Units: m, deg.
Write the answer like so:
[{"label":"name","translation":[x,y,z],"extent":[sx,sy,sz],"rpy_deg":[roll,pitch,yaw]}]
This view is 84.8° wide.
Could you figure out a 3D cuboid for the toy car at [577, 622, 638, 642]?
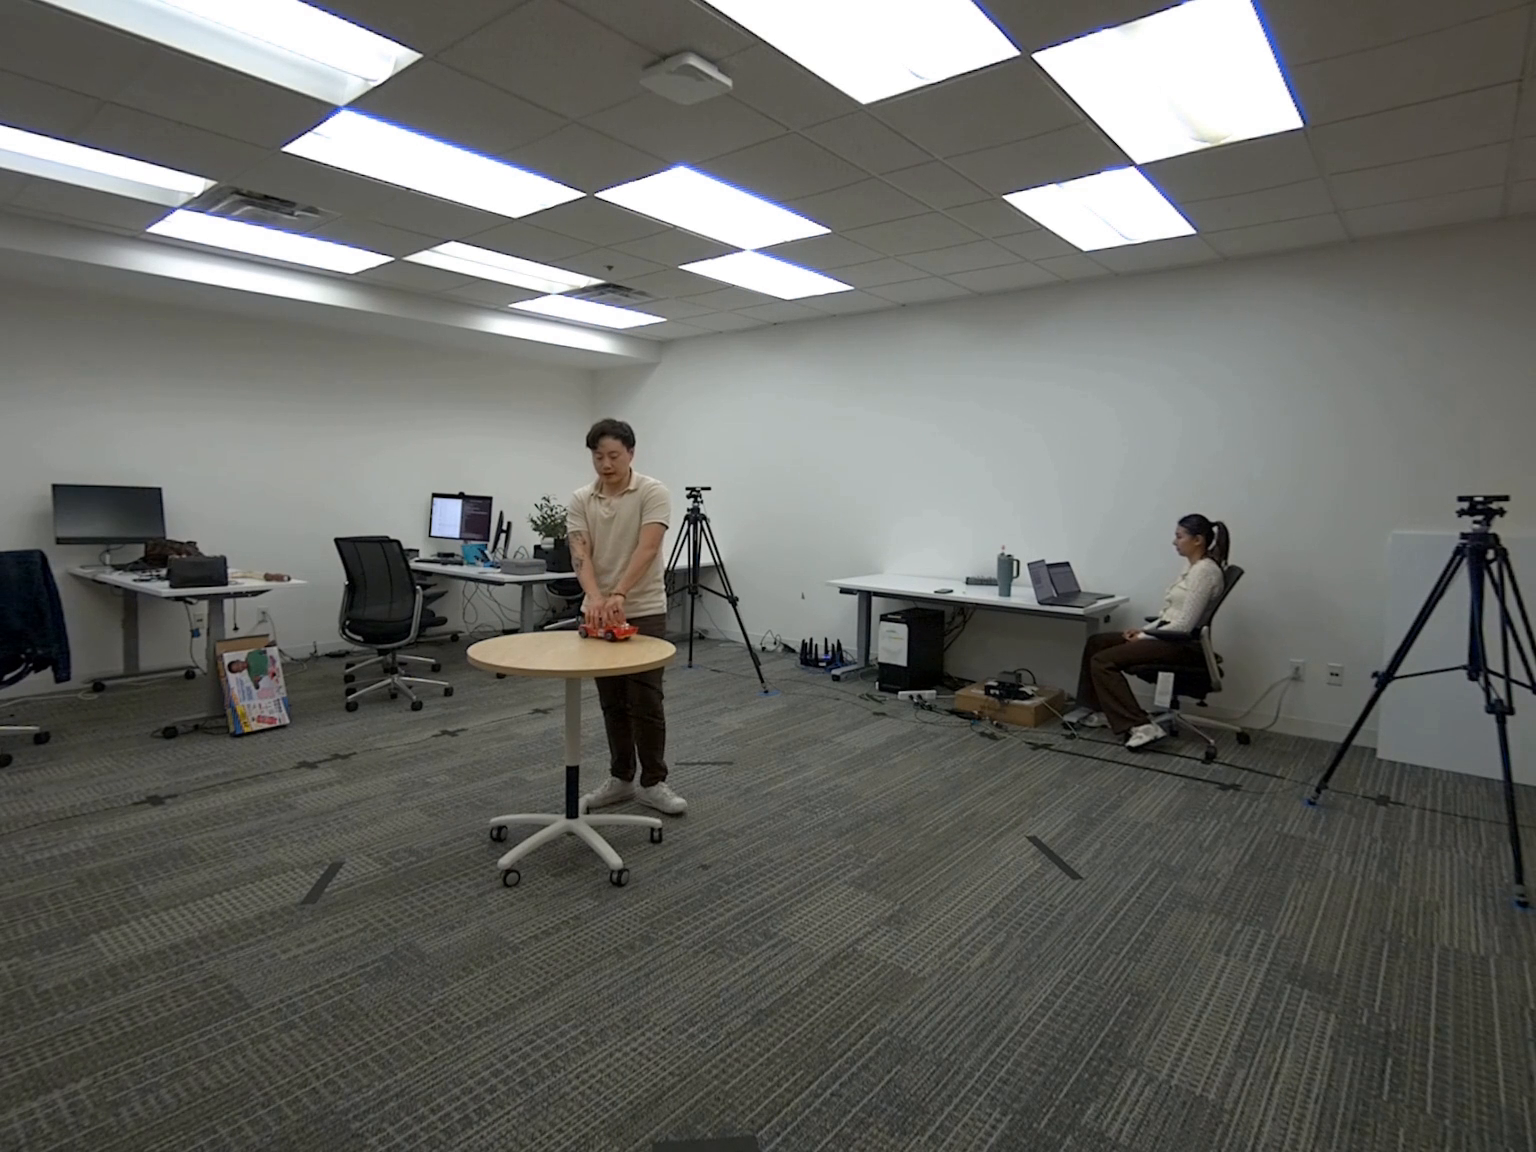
[{"label":"toy car","translation":[-0.647,0.216,3.389],"extent":[0.261,0.083,0.127],"rpy_deg":[-8,-1,33]}]
